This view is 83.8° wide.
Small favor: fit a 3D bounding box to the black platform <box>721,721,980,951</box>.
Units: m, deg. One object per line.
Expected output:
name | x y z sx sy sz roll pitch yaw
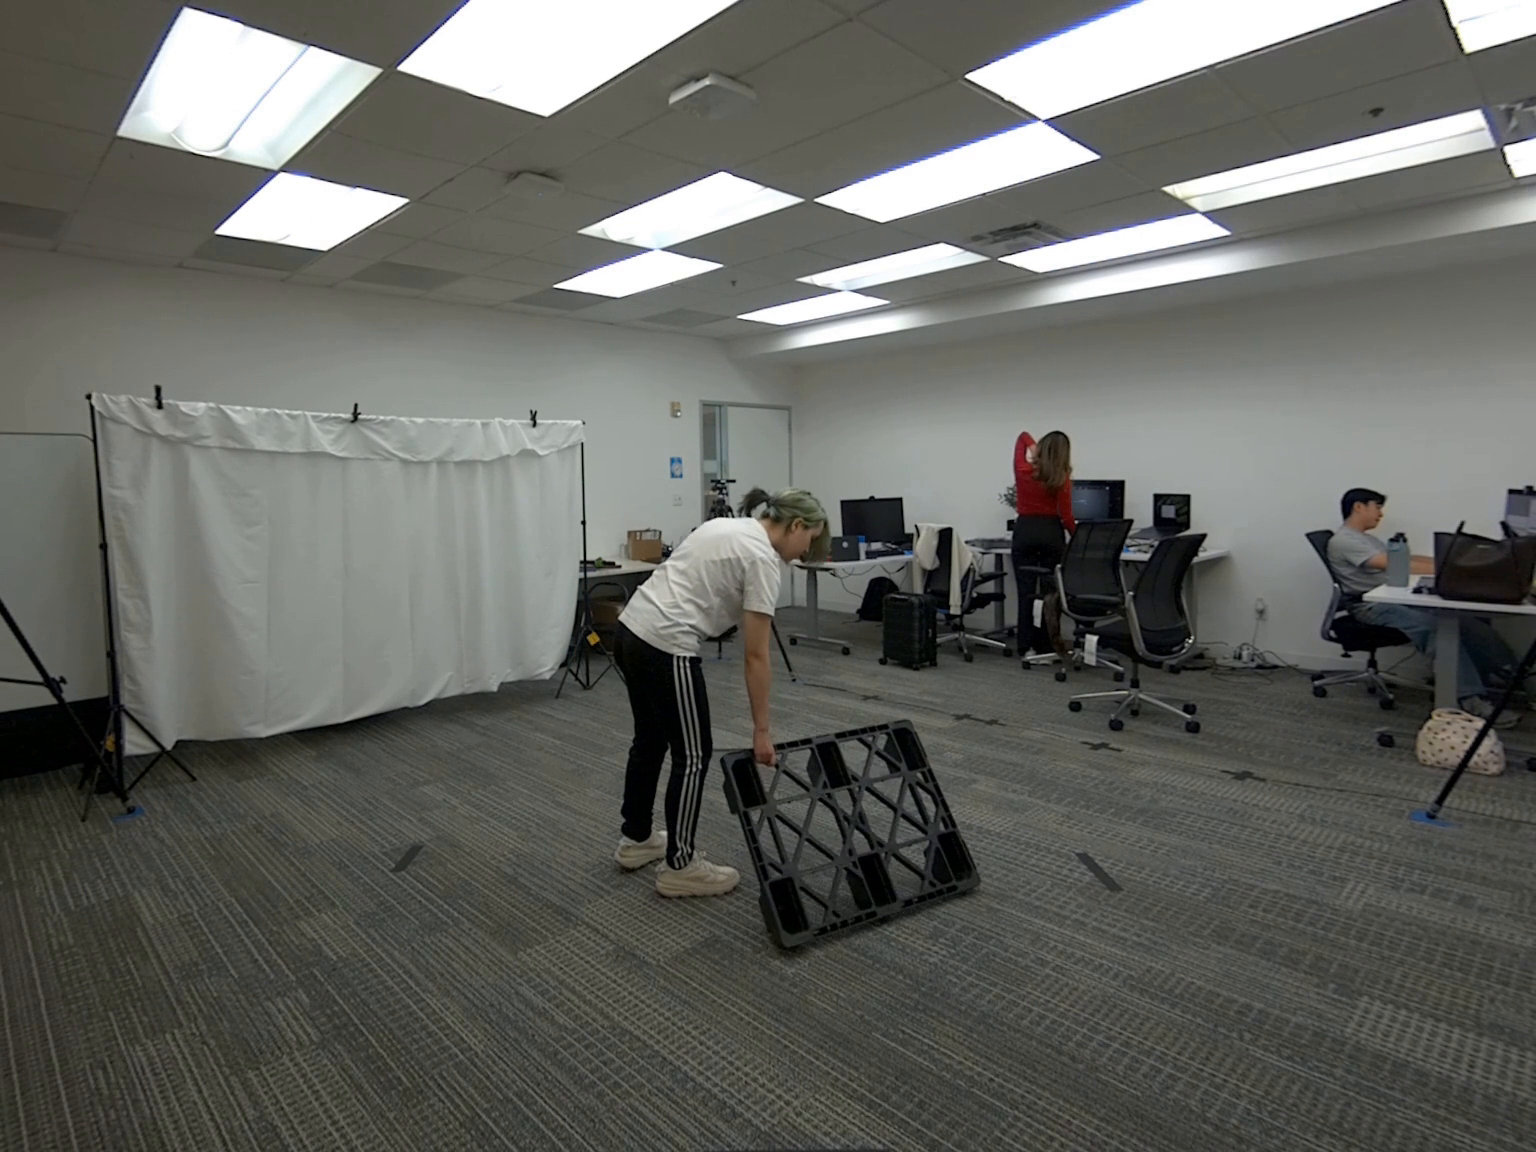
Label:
black platform | 0.267 0.839 2.858 0.786 0.623 0.142 -4 -32 -30
